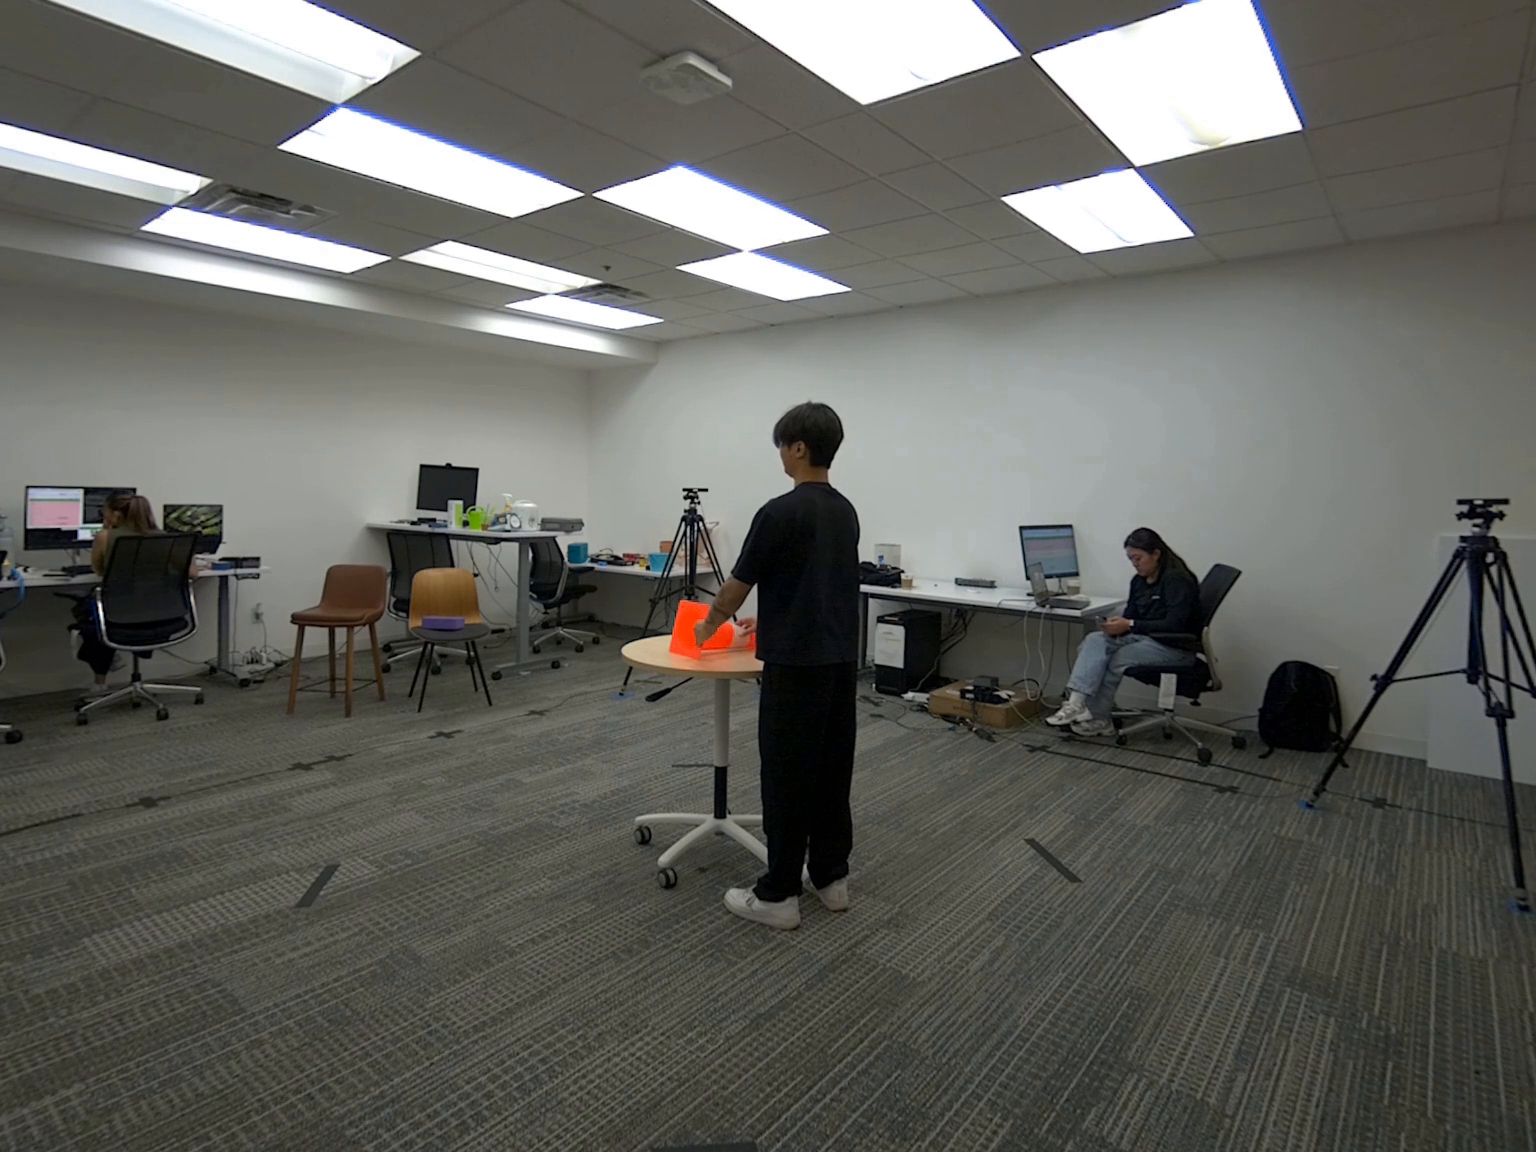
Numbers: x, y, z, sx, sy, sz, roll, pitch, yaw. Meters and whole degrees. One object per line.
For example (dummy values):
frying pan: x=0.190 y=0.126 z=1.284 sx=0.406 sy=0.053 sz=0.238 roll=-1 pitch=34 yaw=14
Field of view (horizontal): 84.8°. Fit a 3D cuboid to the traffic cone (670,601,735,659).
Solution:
traffic cone: x=-0.151 y=0.225 z=3.208 sx=0.370 sy=0.206 sz=0.210 roll=13 pitch=-4 yaw=-39
